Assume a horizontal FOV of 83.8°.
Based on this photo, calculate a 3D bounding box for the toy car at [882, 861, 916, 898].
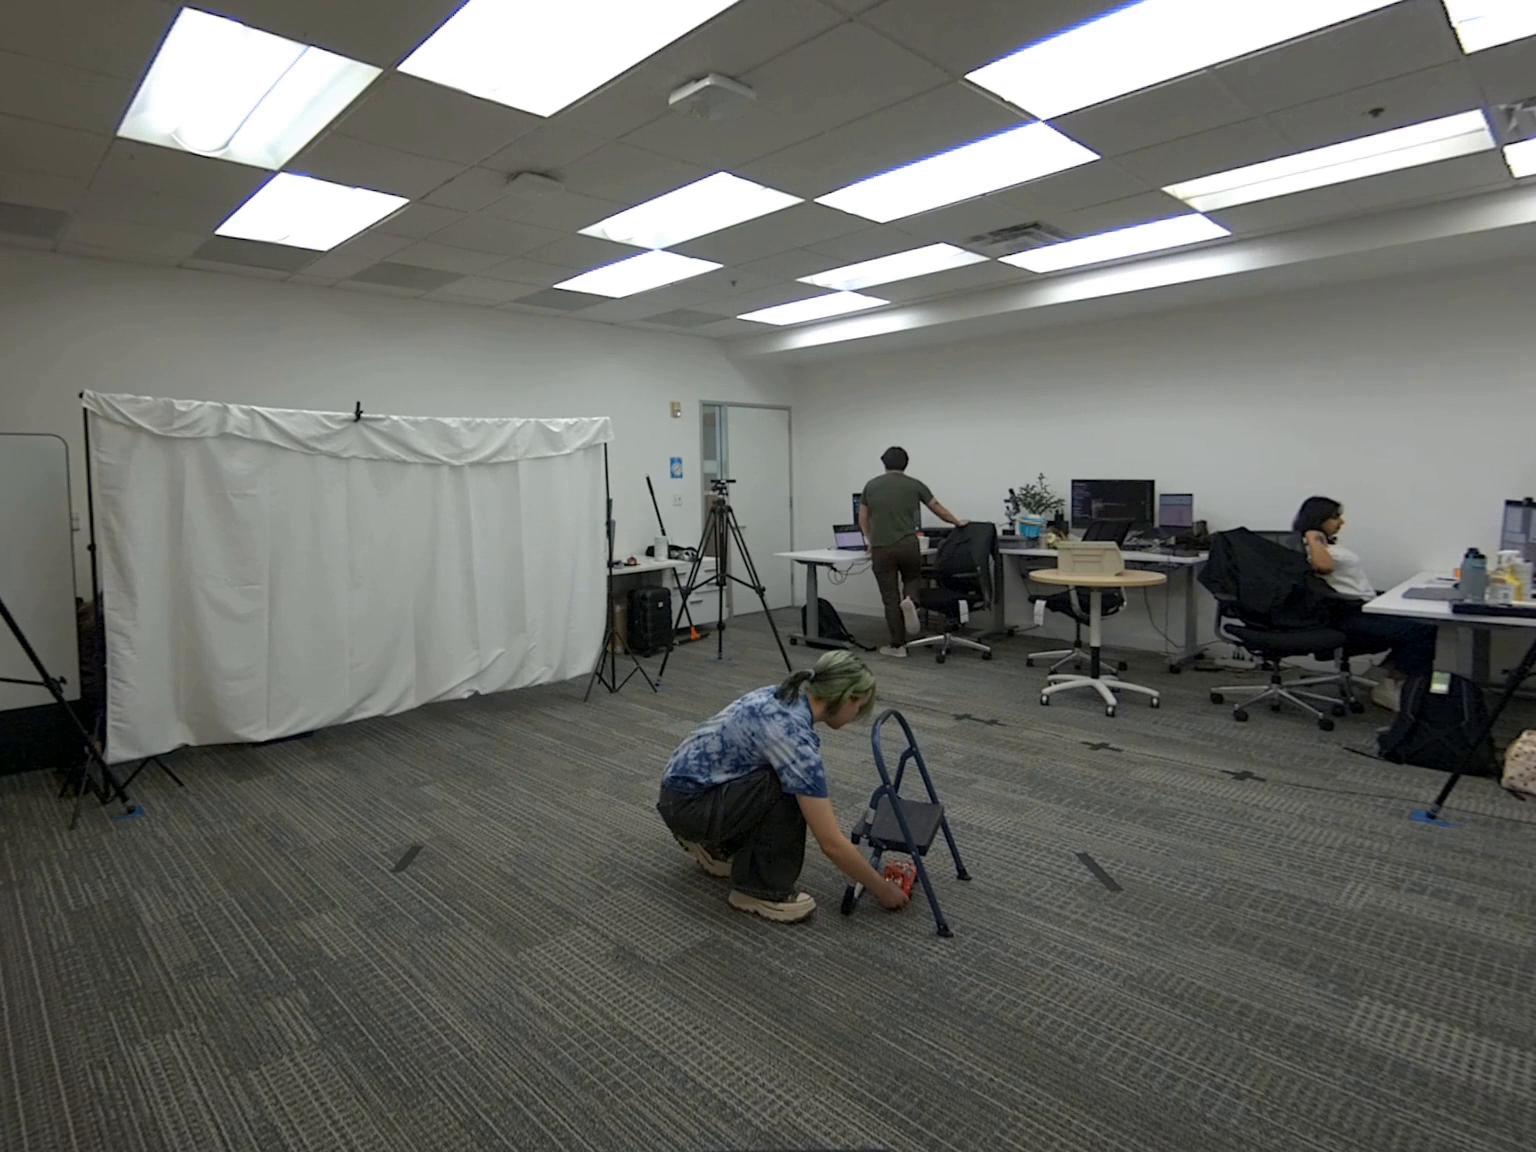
[{"bbox_3d":[0.435,1.028,2.888,0.133,0.083,0.248,6,-4,20],"label":"toy car"}]
